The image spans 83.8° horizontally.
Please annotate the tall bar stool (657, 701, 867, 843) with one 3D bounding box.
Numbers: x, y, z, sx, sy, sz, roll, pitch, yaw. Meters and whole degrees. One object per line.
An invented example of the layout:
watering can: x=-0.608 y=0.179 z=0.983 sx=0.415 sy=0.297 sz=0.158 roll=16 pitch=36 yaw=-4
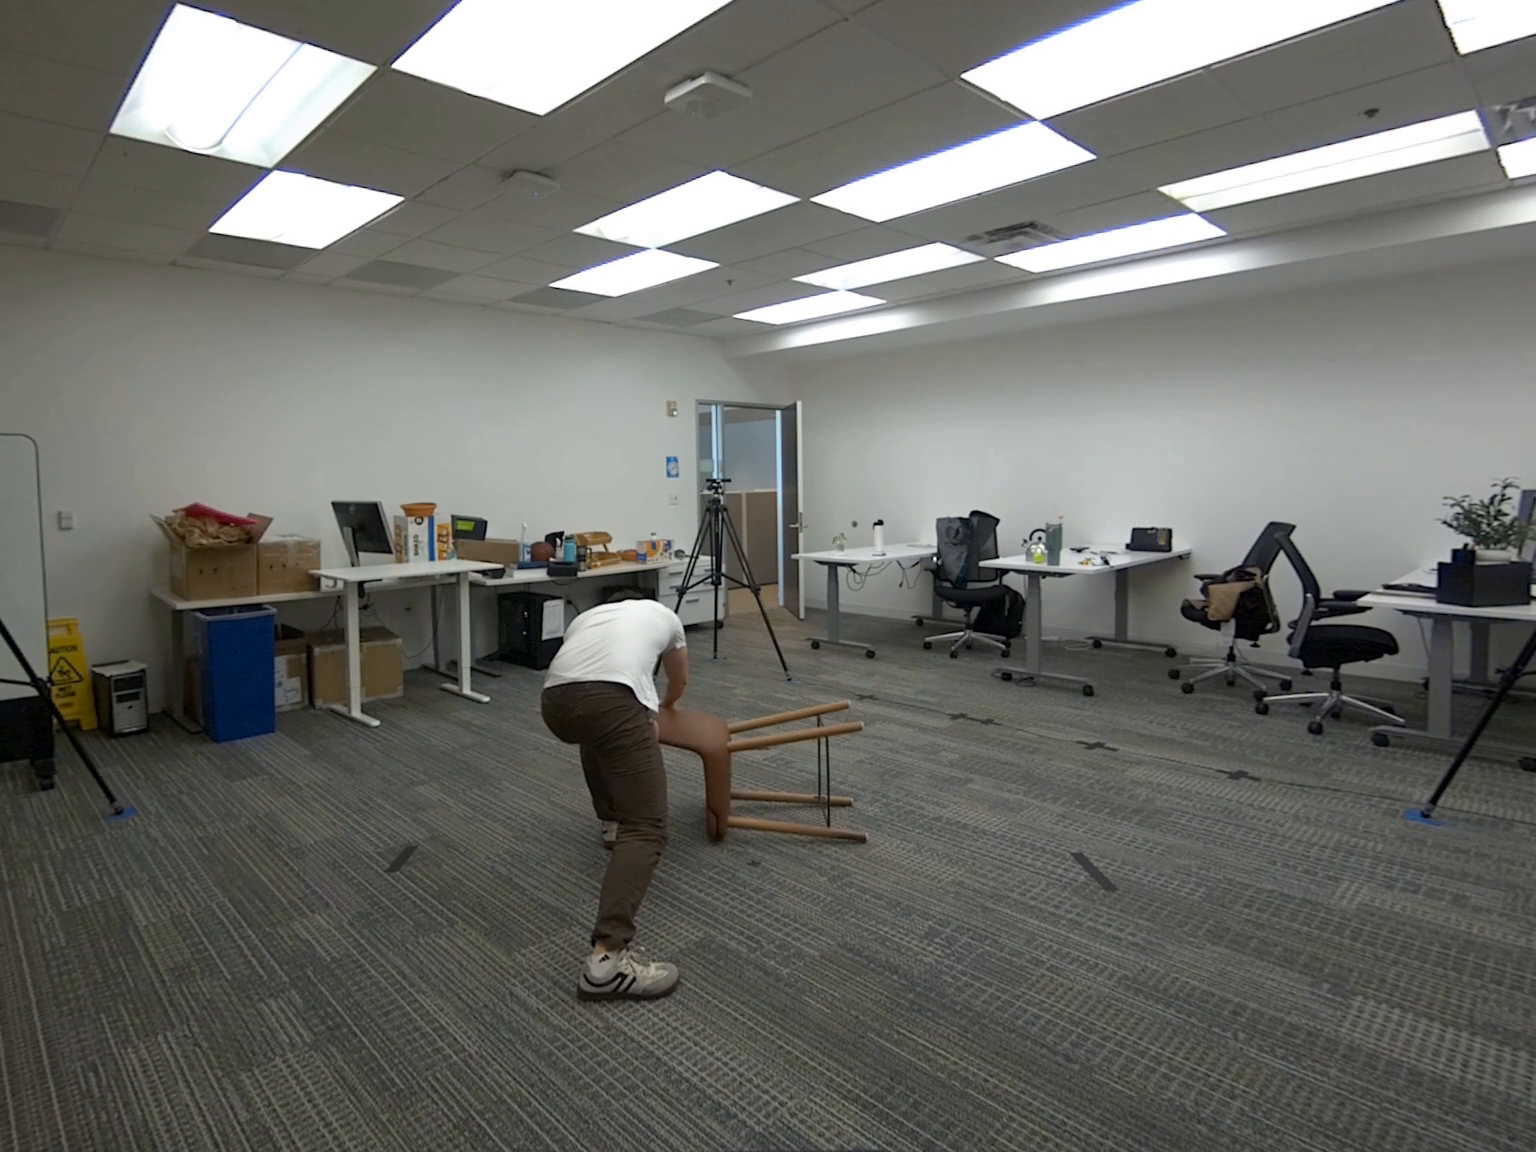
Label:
tall bar stool: x=-0.073 y=0.778 z=3.455 sx=0.889 sy=0.466 sz=0.458 roll=0 pitch=3 yaw=-1
